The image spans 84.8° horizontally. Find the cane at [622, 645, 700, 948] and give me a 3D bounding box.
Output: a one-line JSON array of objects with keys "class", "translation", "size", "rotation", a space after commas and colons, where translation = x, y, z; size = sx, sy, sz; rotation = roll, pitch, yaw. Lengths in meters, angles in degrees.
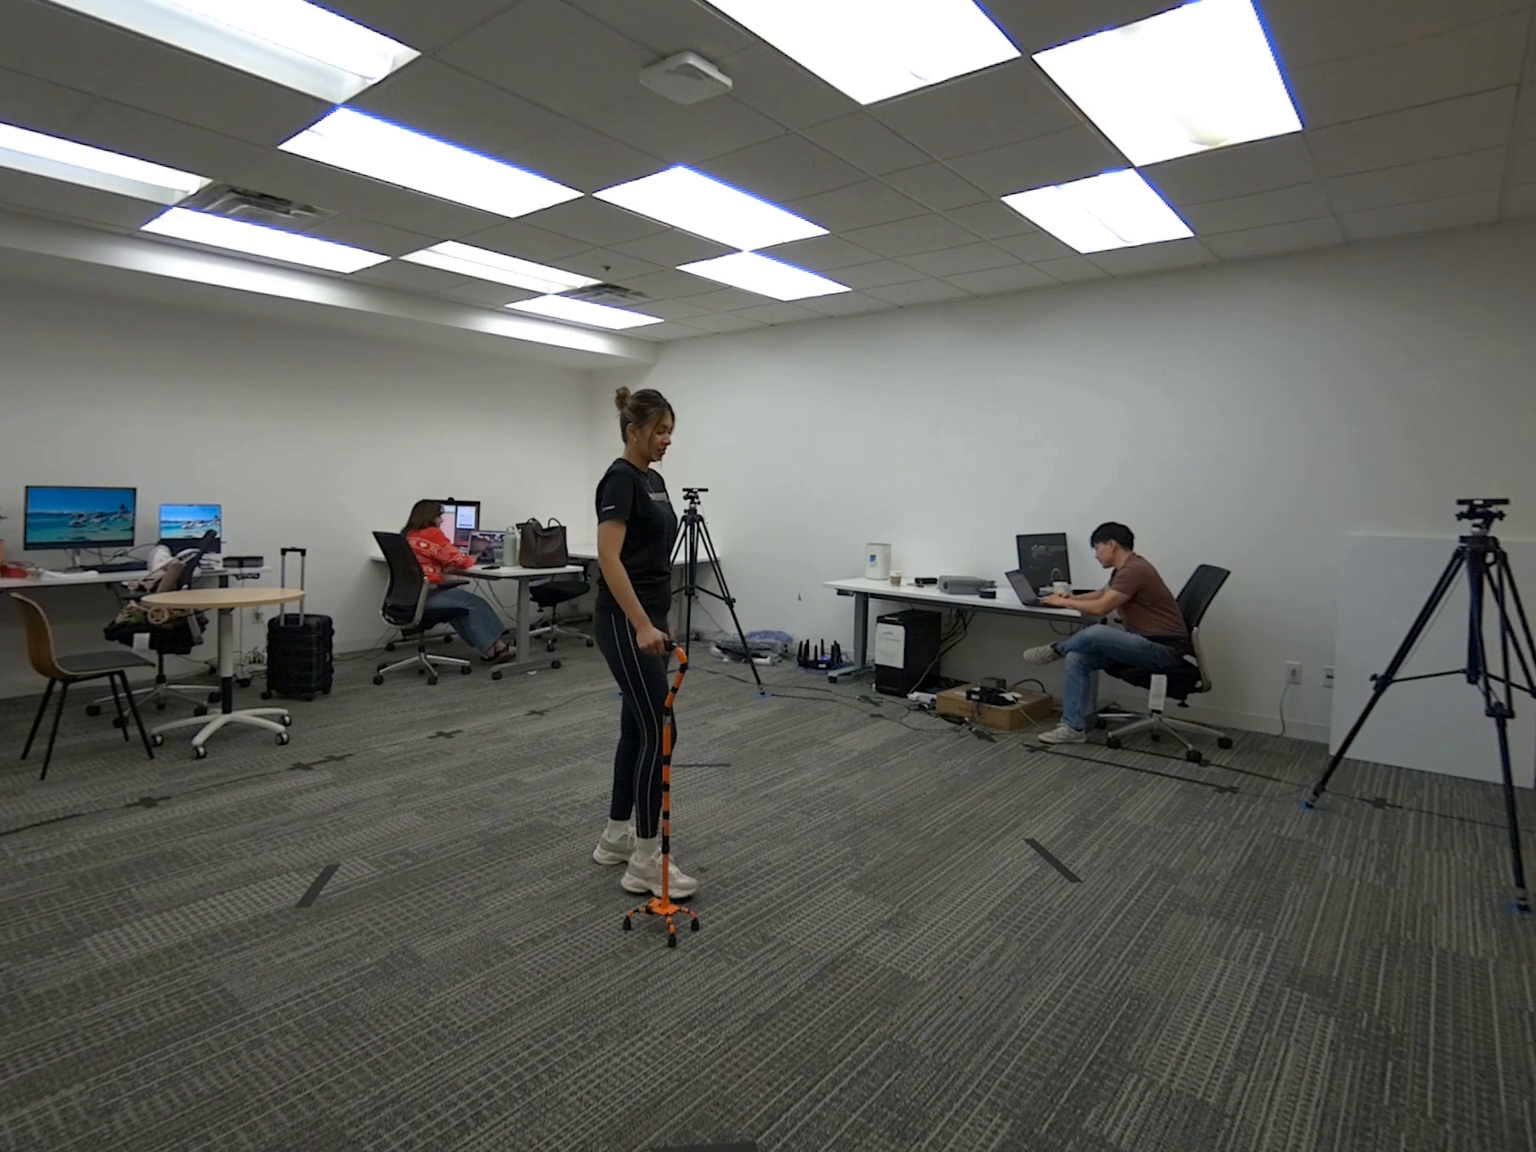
[{"class": "cane", "translation": [-0.329, 0.652, 2.661], "size": [0.212, 0.905, 0.148], "rotation": [4, 3, 28]}]
